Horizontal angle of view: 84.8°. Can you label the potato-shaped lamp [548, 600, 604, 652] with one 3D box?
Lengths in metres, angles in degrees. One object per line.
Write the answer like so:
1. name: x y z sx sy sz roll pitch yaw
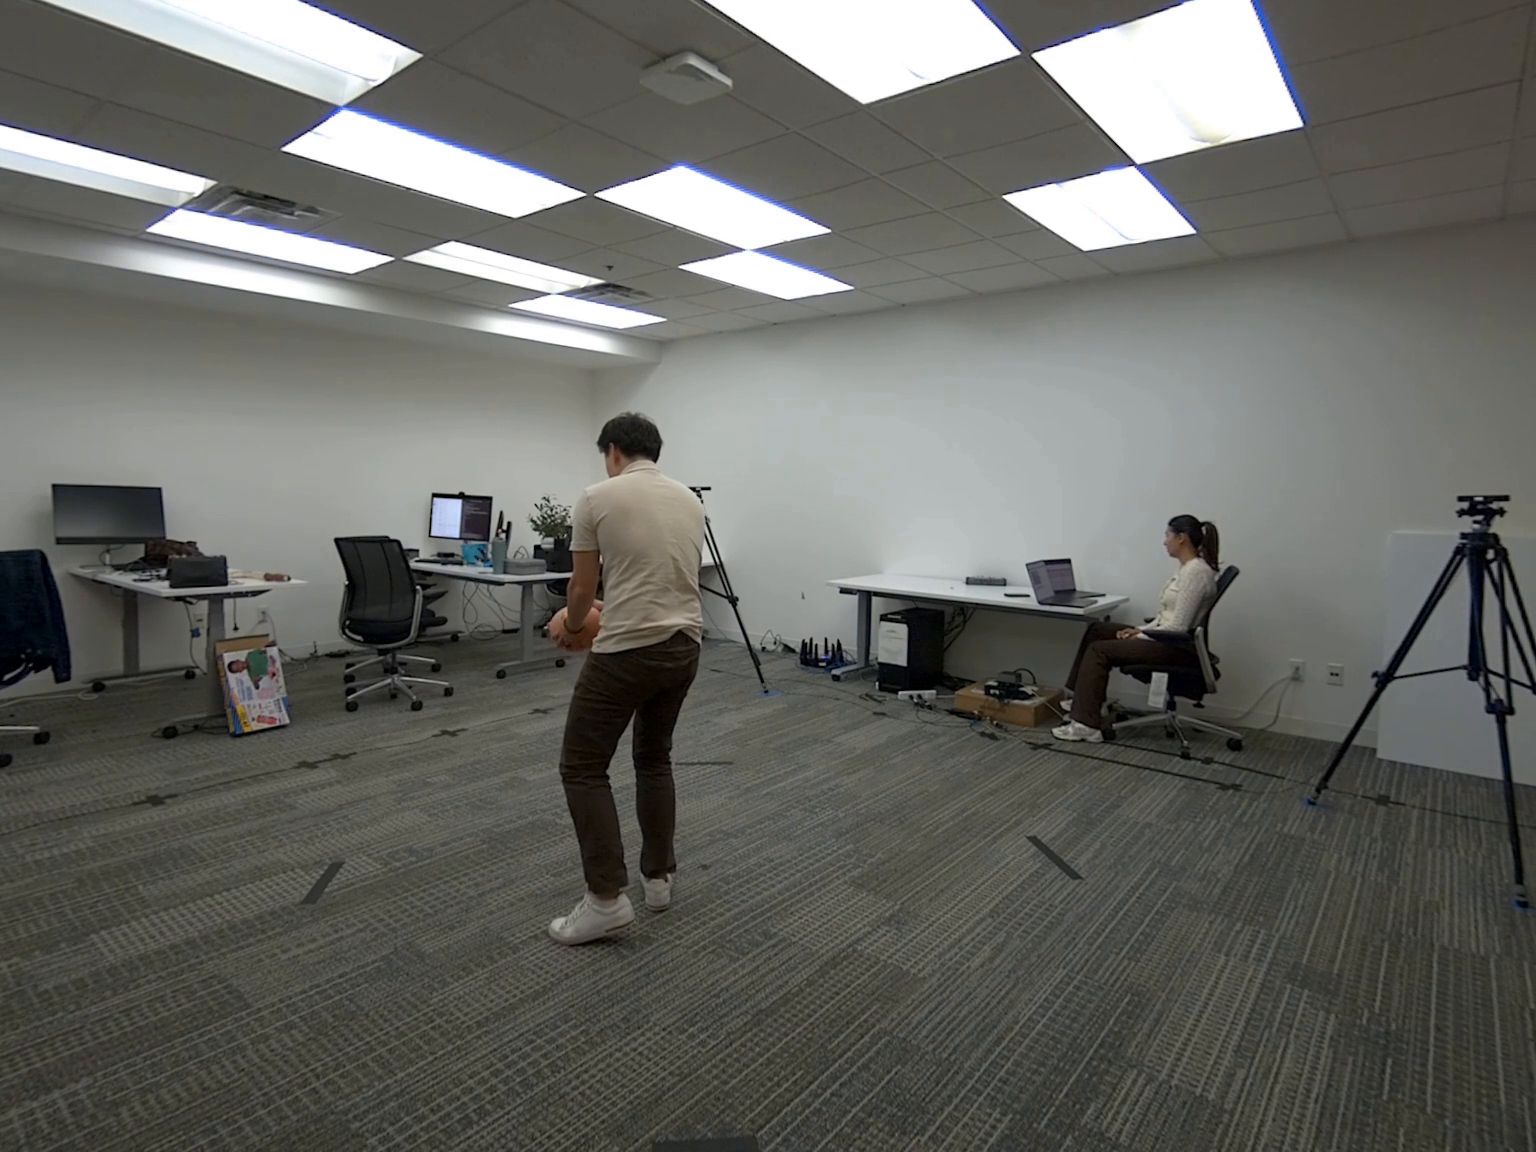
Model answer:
1. potato-shaped lamp: -0.691 0.182 3.059 0.200 0.171 0.163 -32 2 39
